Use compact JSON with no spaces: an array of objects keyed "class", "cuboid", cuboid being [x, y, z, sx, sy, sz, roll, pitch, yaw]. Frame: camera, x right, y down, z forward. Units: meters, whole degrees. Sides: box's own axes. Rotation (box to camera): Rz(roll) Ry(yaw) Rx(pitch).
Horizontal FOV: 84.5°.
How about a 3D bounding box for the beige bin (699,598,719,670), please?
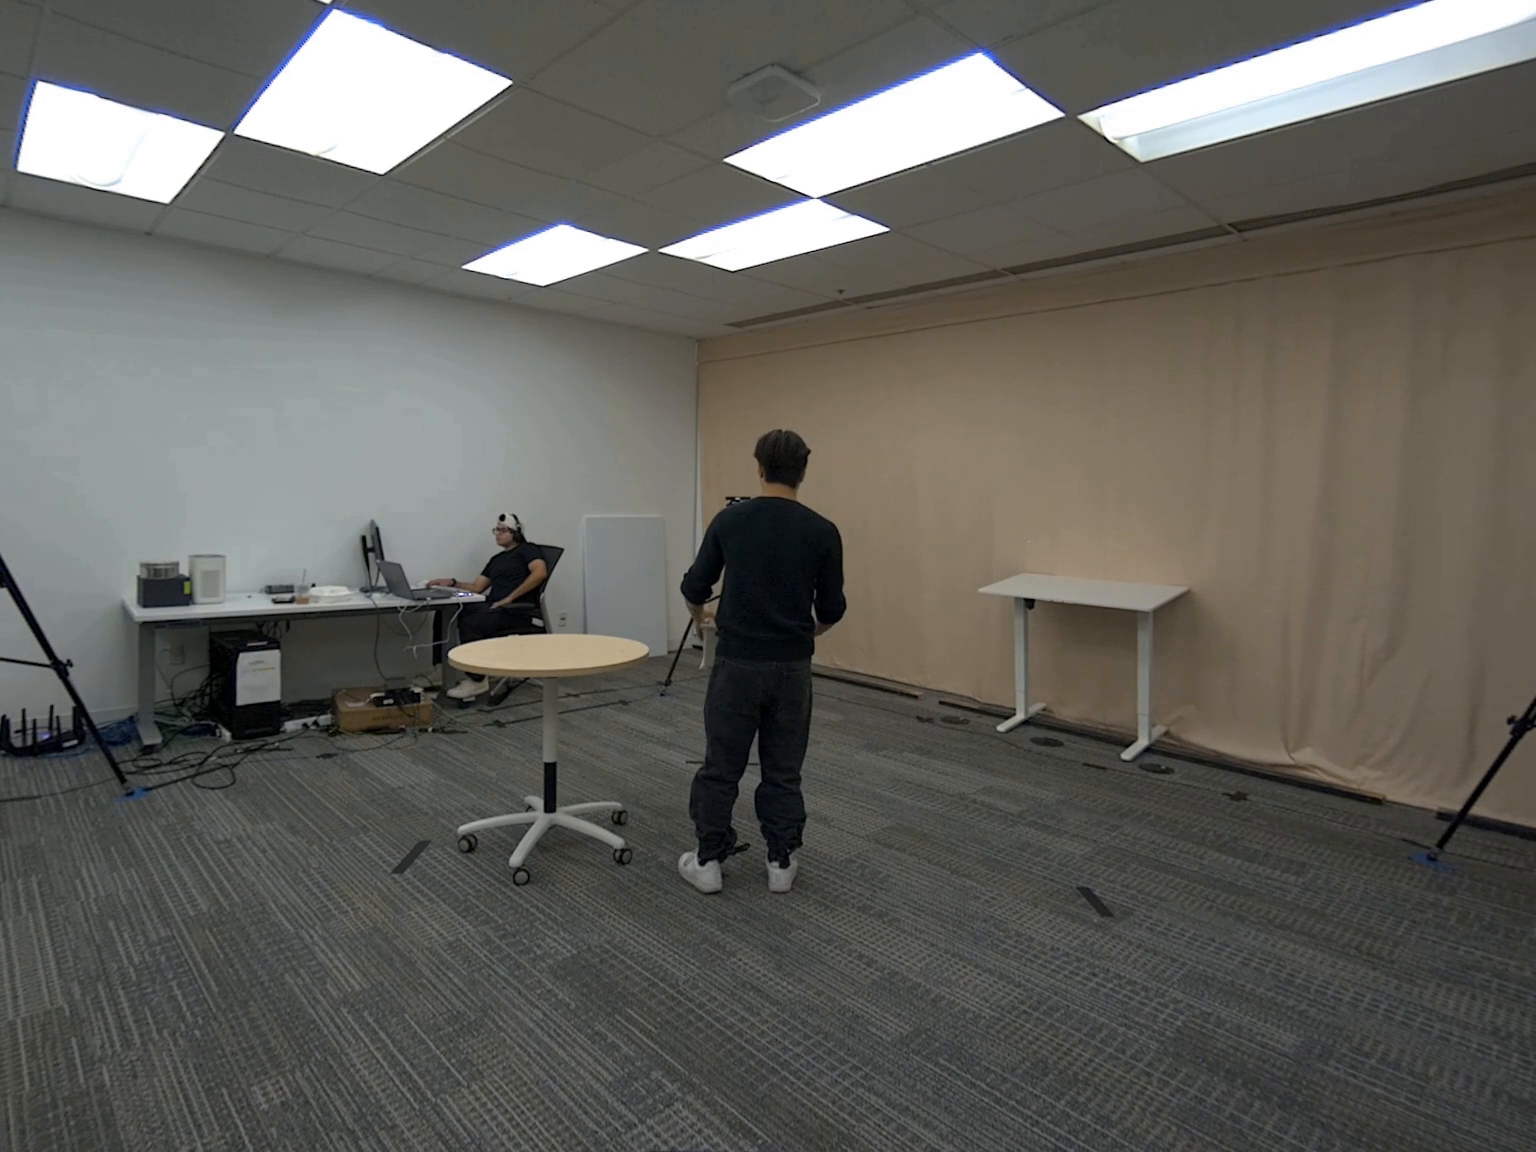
[{"class":"beige bin","cuboid":[-0.061,0.268,3.448,0.422,0.188,0.379,4,10,0]}]
